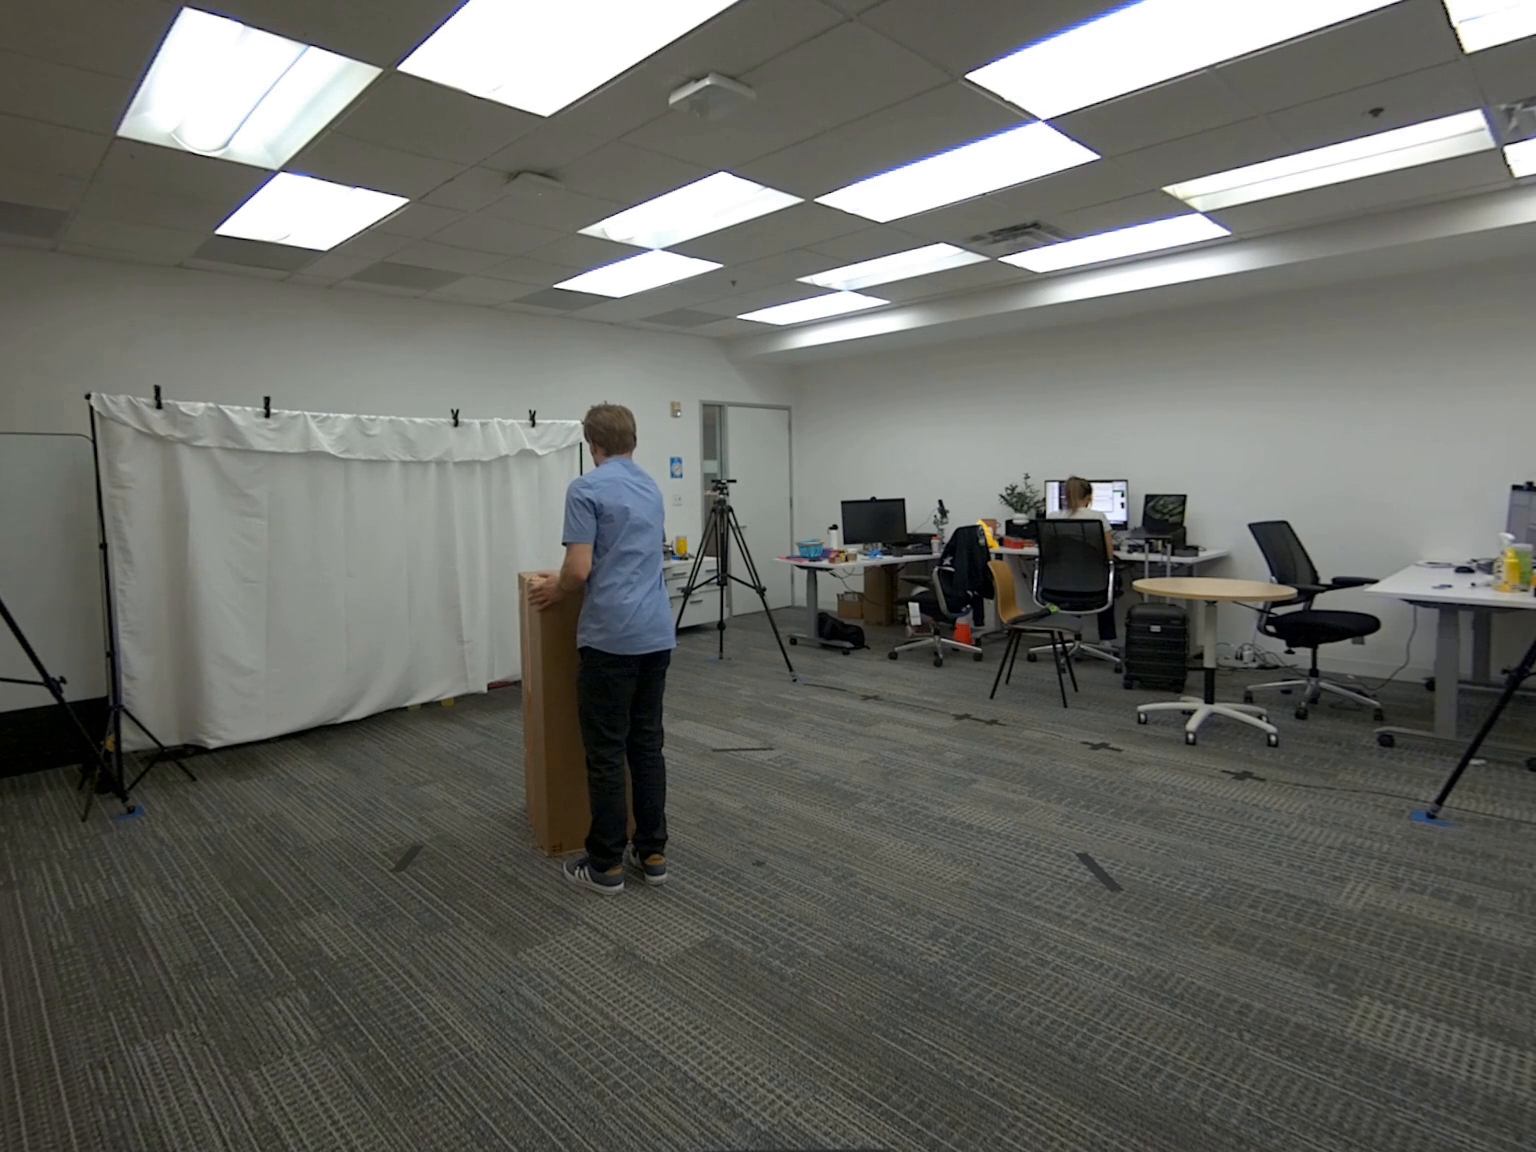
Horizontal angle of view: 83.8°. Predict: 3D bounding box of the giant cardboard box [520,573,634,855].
[{"bbox_3d":[-0.764,0.508,3.499,0.418,1.022,0.590,-3,5,-22],"label":"giant cardboard box"}]
